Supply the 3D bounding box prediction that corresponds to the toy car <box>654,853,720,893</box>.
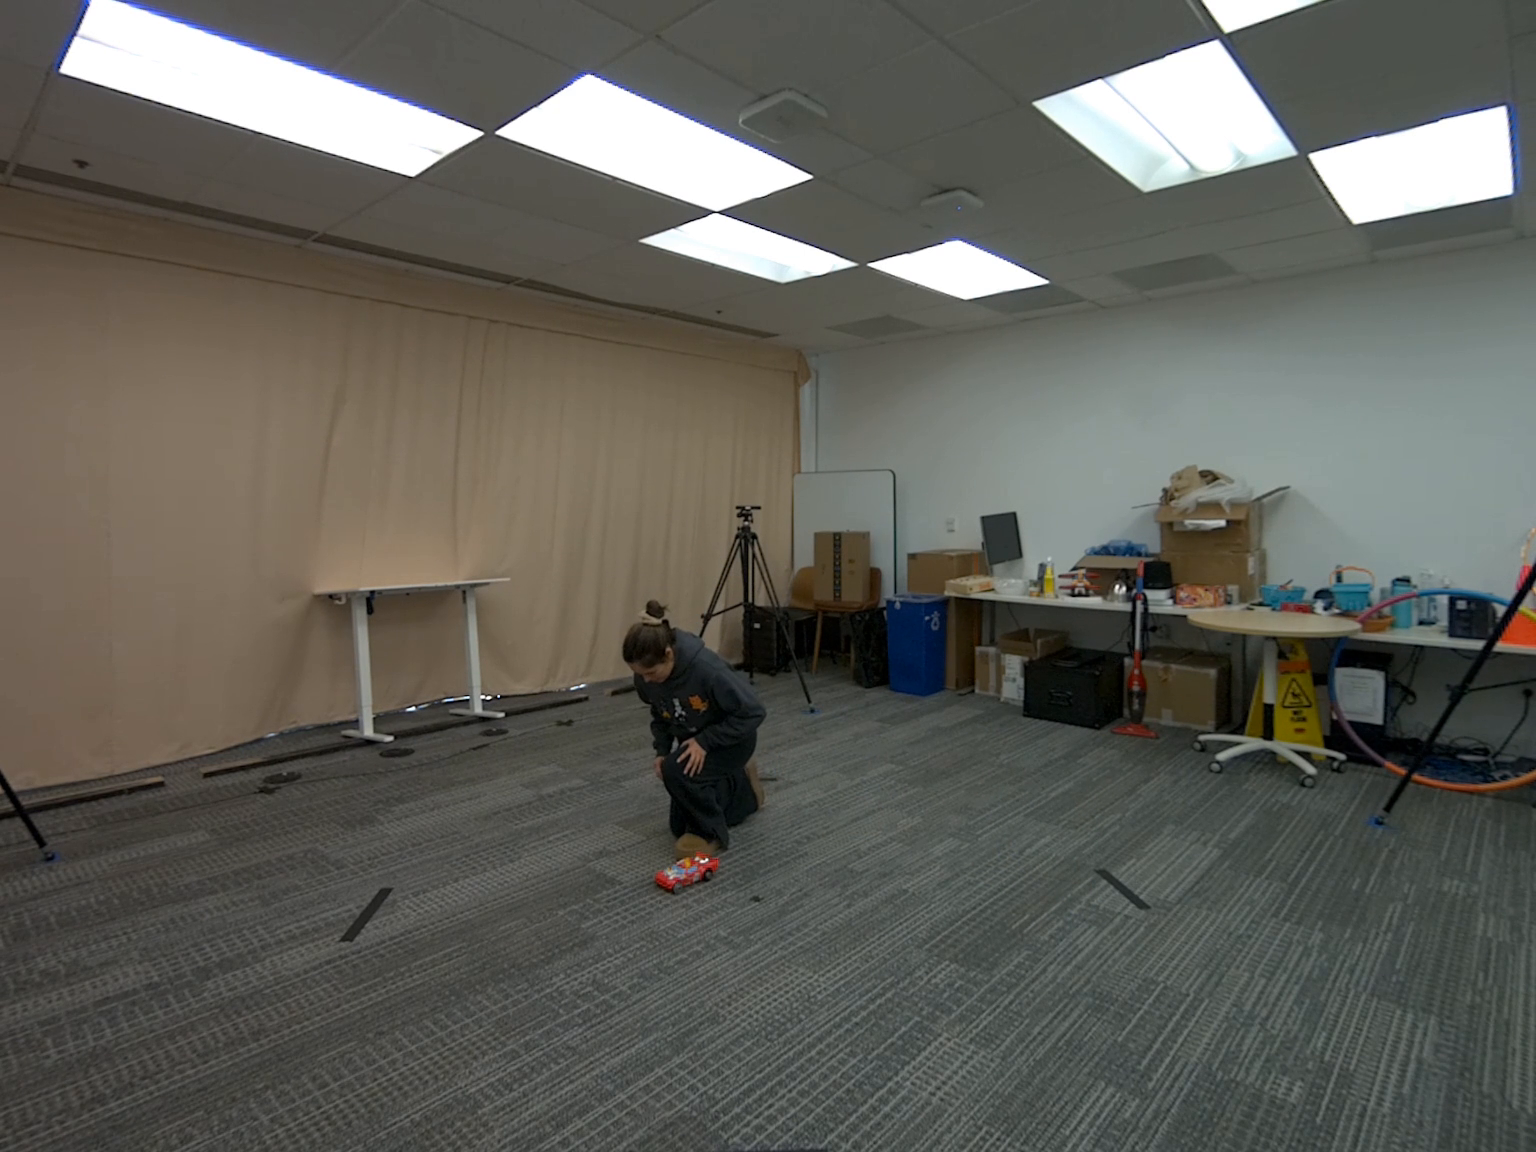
[{"bbox_3d":[-0.285,1.100,3.134,0.248,0.082,0.134,-20,16,-40],"label":"toy car"}]
